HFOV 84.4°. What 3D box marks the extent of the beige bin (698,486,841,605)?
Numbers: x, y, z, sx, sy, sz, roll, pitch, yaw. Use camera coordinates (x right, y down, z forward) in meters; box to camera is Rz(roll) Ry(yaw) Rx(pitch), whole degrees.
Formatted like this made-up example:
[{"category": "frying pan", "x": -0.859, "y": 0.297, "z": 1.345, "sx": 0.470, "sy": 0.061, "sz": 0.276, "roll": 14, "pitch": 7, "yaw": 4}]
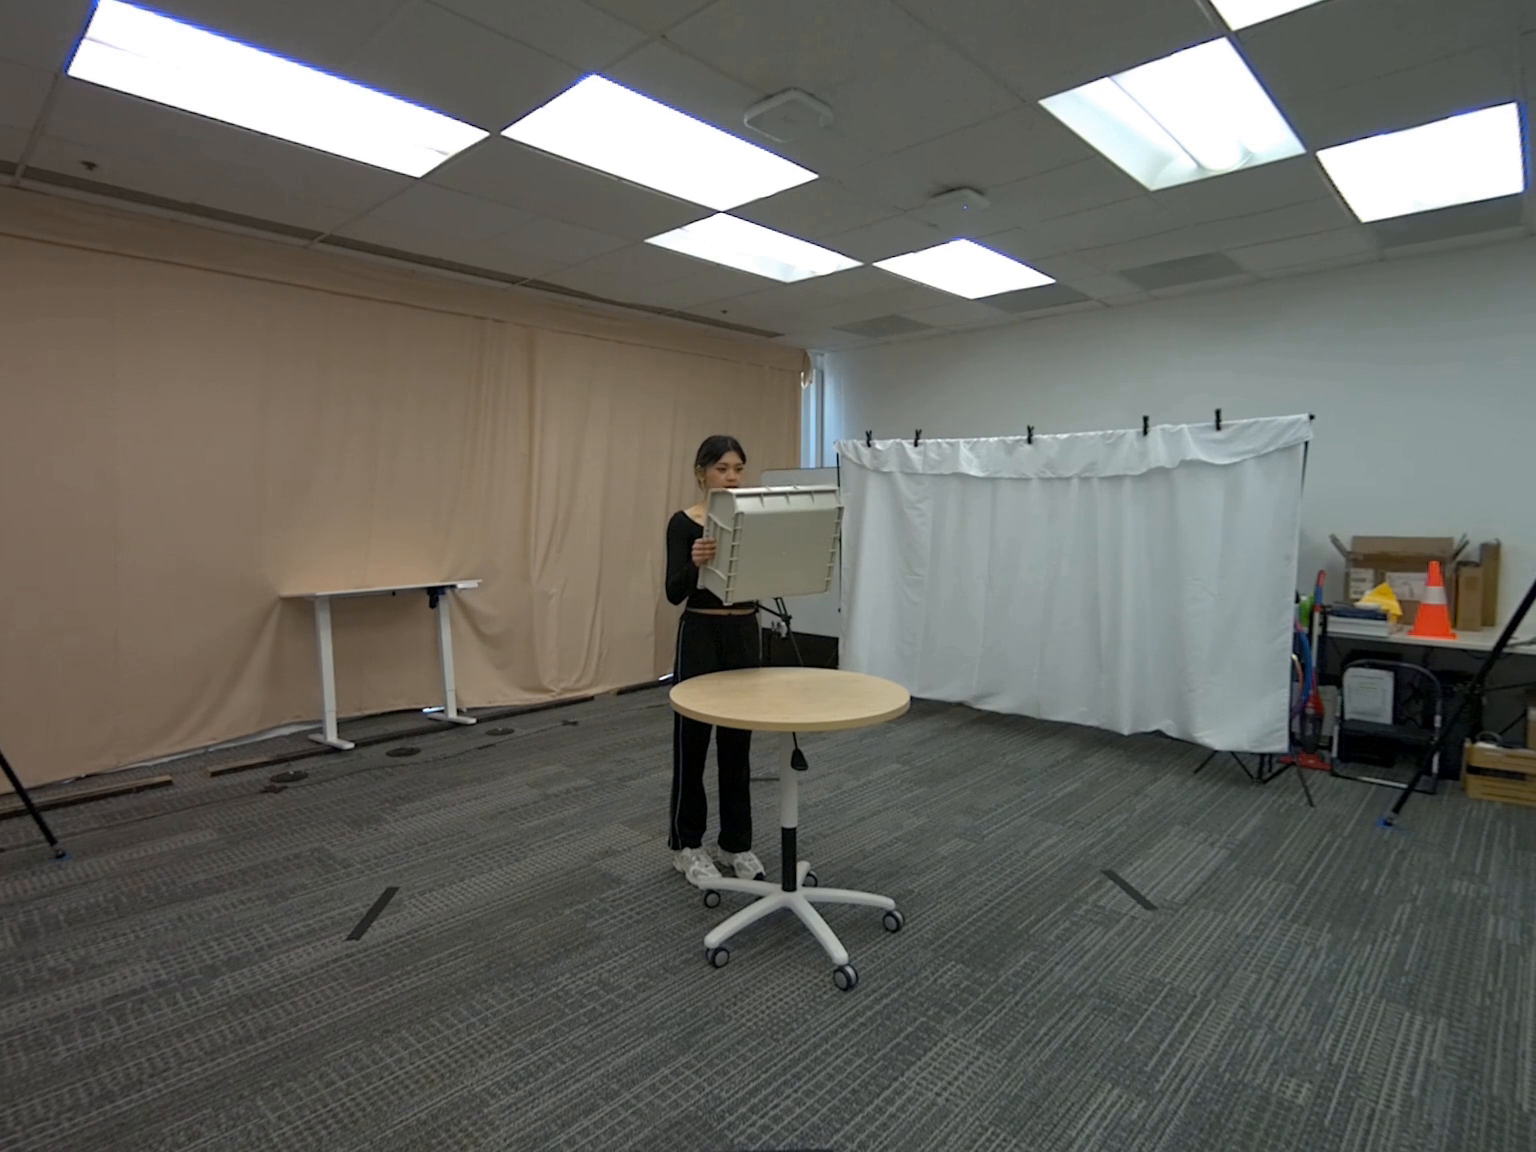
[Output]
[{"category": "beige bin", "x": 0.016, "y": -0.119, "z": 2.784, "sx": 0.411, "sy": 0.374, "sz": 0.196, "roll": -4, "pitch": 21, "yaw": -30}]
